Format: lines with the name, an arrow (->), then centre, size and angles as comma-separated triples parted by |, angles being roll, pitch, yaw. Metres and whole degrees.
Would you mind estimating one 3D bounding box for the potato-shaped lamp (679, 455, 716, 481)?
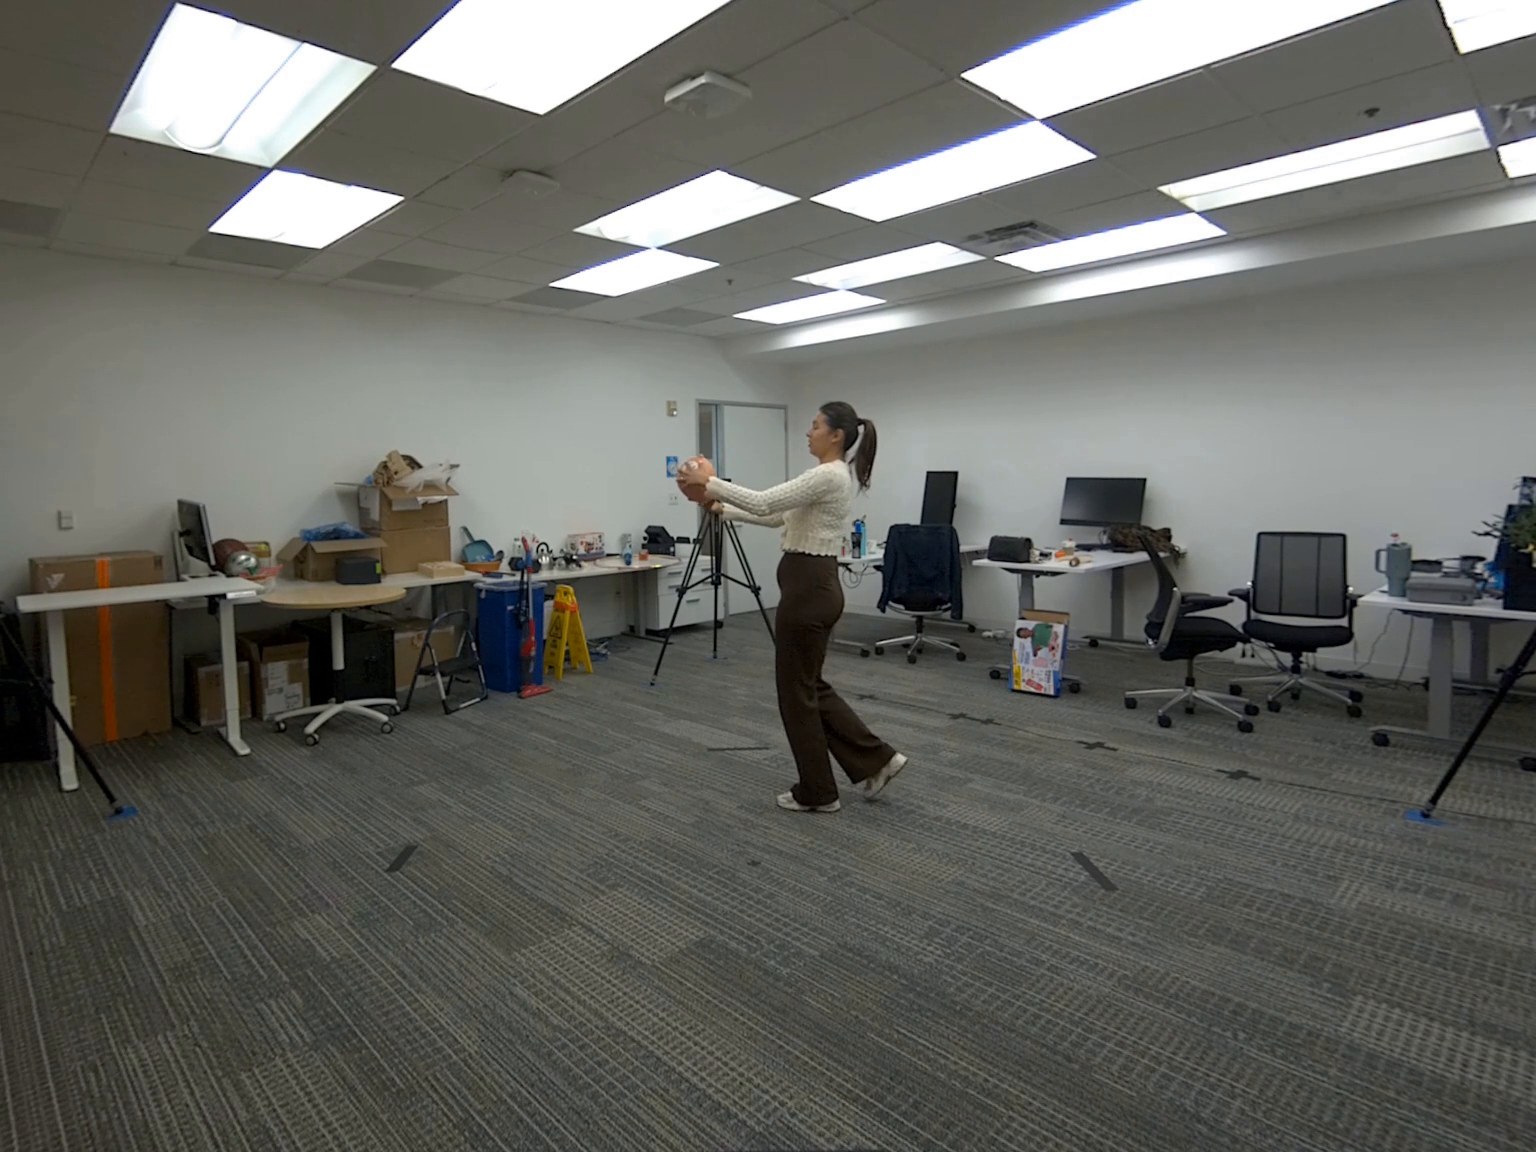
potato-shaped lamp -> -0.283, -0.401, 3.618 | 0.167, 0.174, 0.191 | -5, -21, 17
